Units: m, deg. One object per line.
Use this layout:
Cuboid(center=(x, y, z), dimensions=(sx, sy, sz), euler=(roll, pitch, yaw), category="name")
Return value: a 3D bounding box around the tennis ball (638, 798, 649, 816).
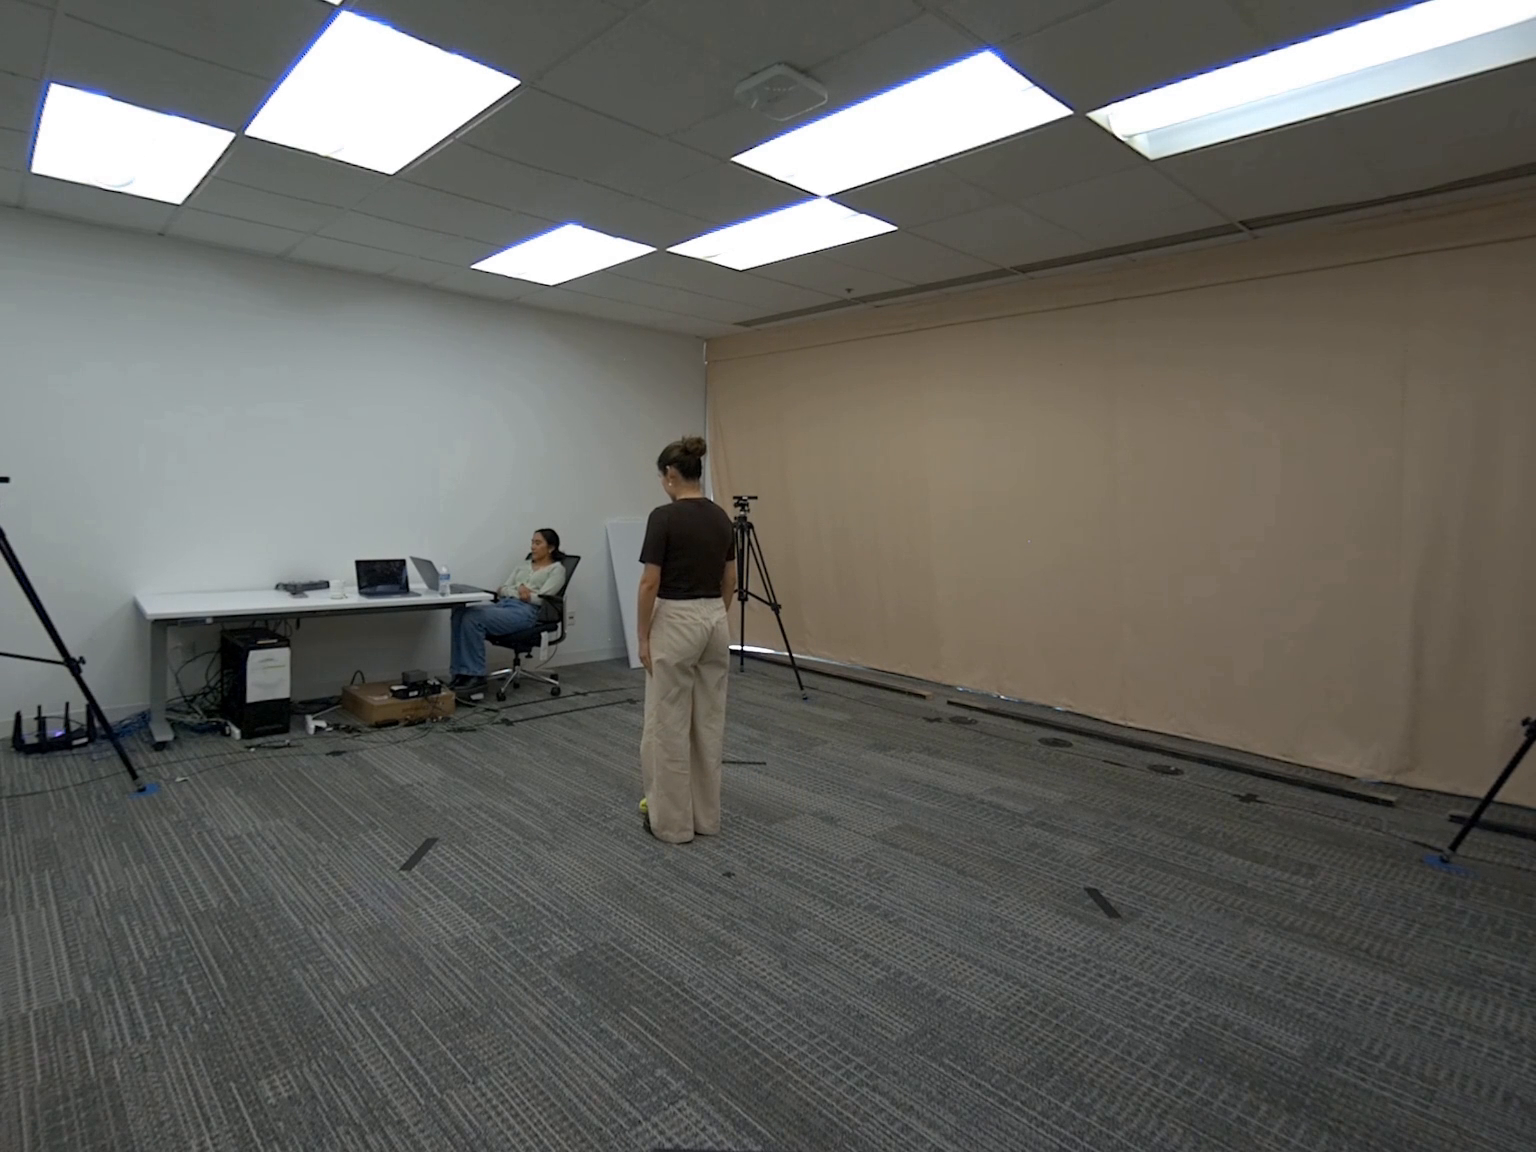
Cuboid(center=(-0.535, 0.990, 3.678), dimensions=(0.066, 0.066, 0.067), euler=(1, 4, -1), category="tennis ball")
